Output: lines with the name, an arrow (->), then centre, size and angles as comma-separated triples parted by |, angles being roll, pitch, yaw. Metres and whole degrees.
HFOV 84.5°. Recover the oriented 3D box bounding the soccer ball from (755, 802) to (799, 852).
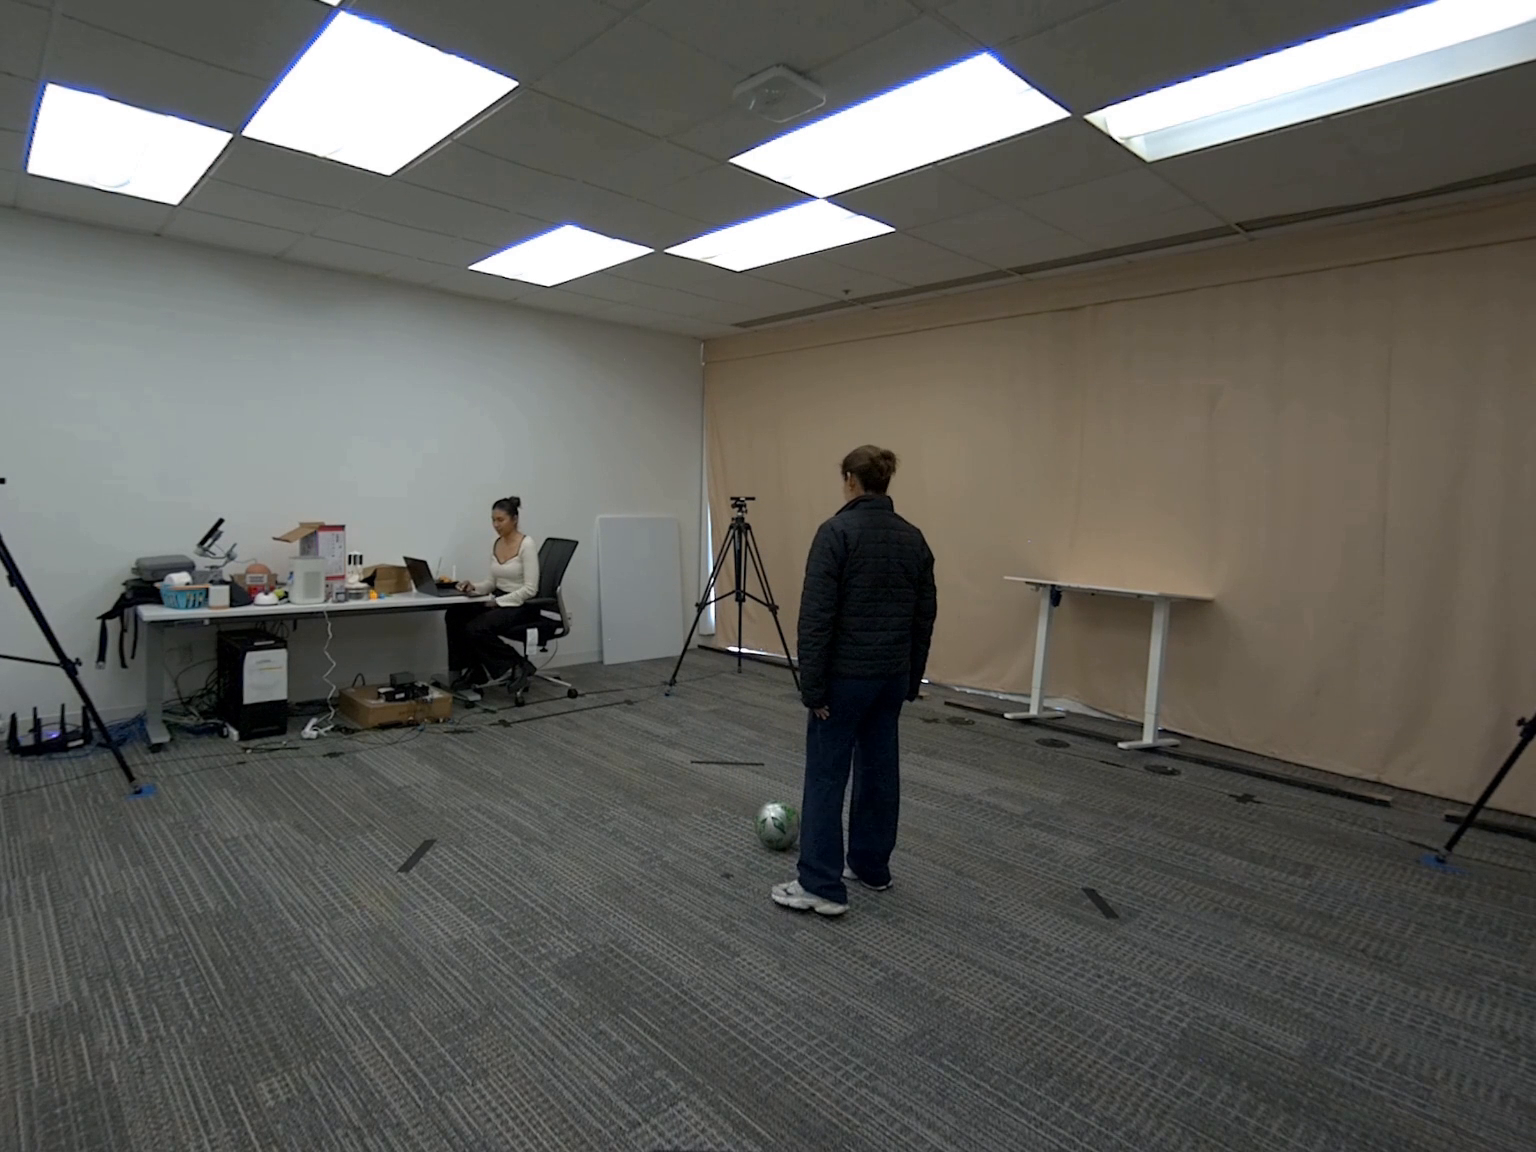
soccer ball -> 0.031, 0.991, 3.371 | 0.187, 0.187, 0.188 | 1, 4, -1
